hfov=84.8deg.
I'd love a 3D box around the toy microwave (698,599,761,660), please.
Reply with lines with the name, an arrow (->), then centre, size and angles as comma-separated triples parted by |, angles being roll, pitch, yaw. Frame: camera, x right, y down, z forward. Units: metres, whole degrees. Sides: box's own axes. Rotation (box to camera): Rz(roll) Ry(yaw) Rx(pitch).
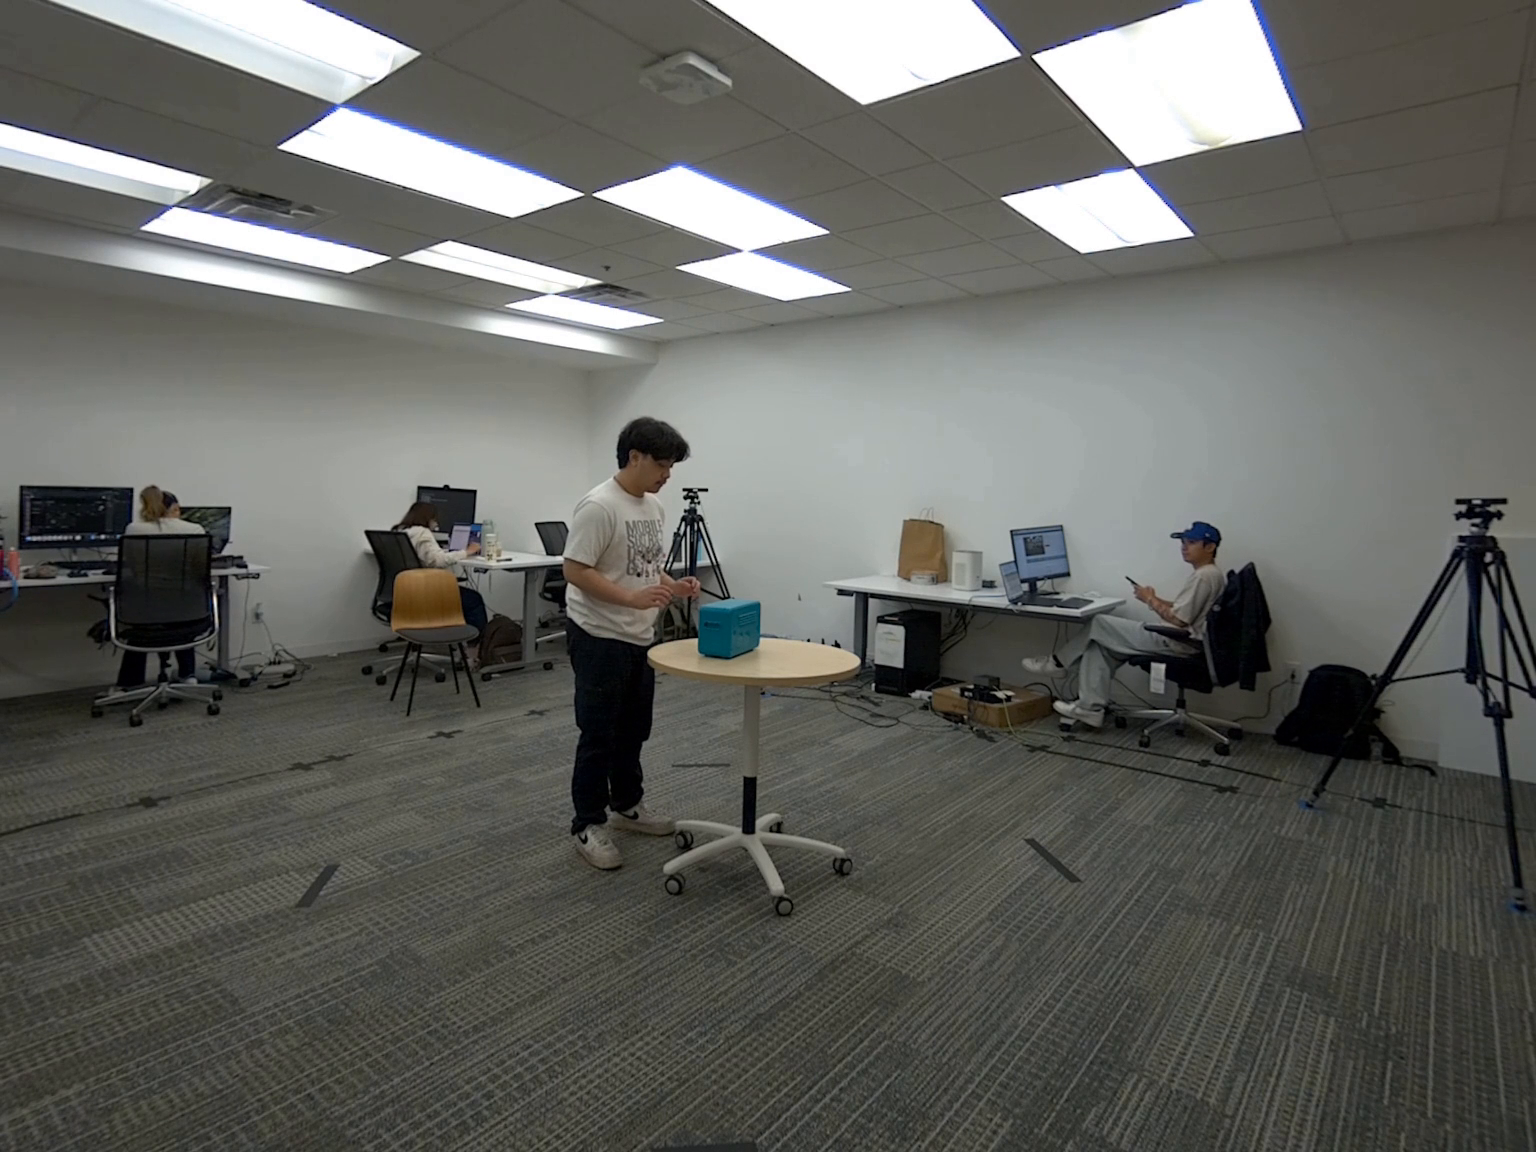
toy microwave -> -0.155, 0.185, 3.108 | 0.156, 0.183, 0.280 | 3, 5, 24
